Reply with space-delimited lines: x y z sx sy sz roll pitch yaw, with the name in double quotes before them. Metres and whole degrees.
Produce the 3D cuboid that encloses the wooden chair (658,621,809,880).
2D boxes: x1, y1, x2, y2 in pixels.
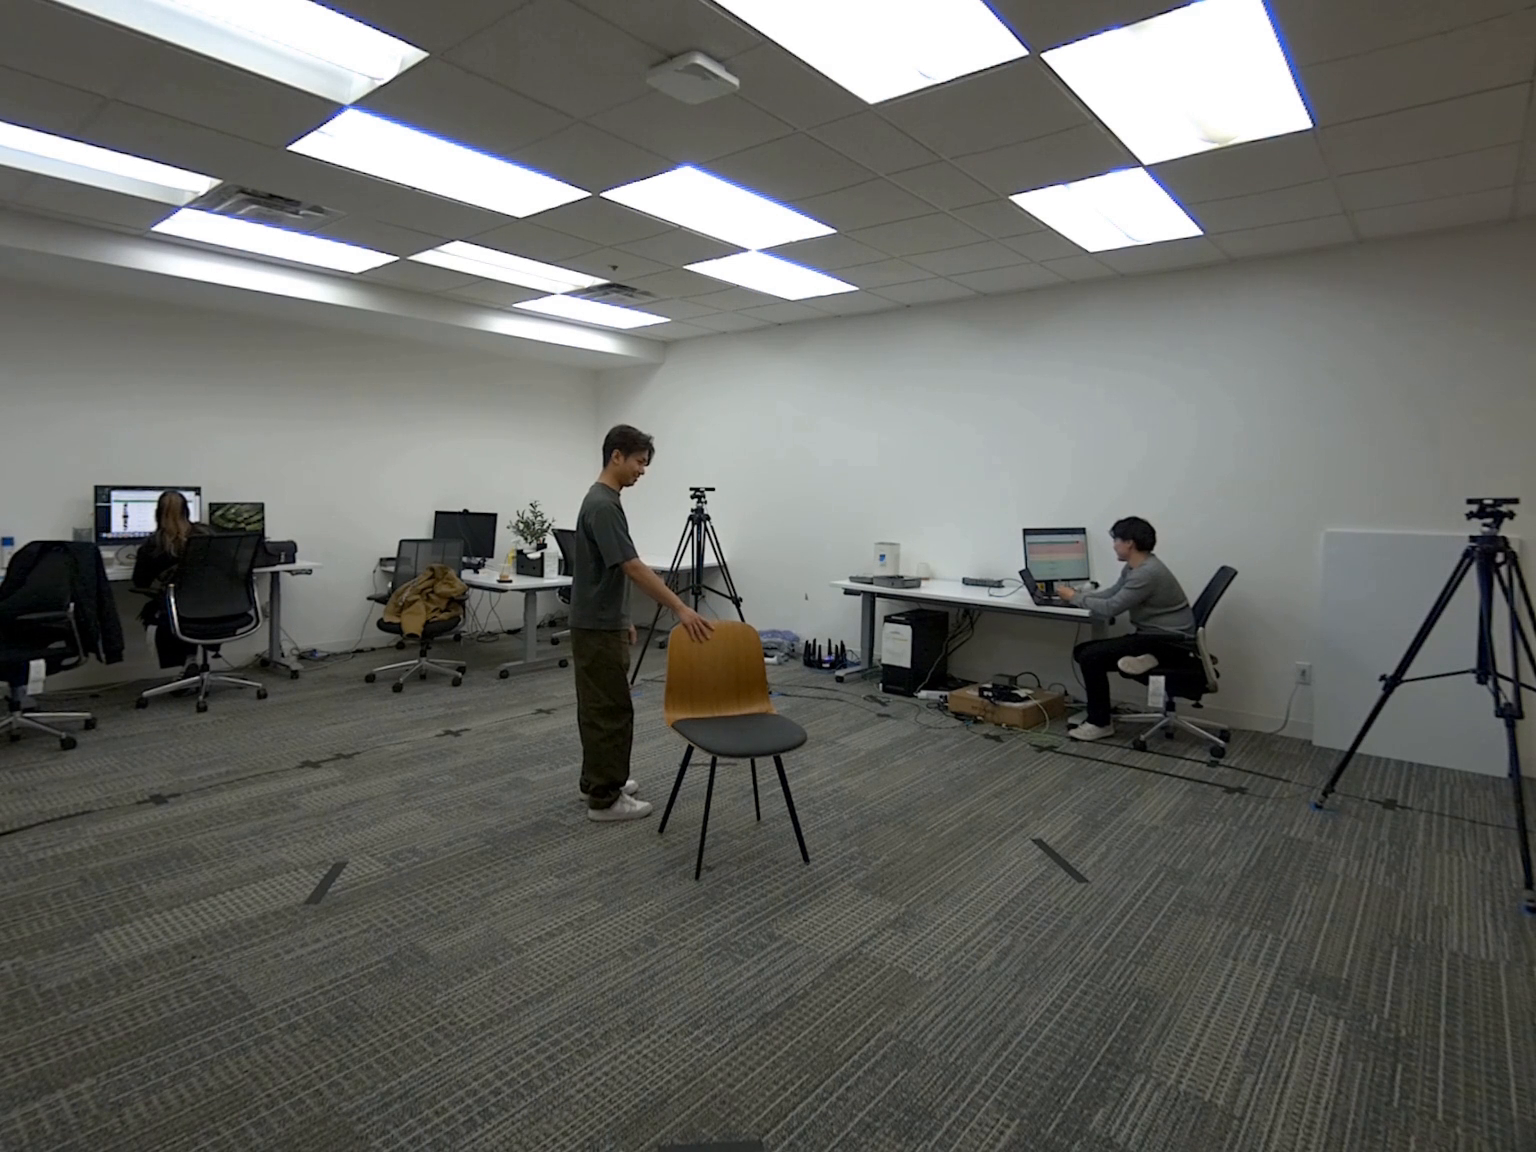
"wooden chair" -0.141 0.625 3.265 0.467 0.878 0.534 0 -1 -23
